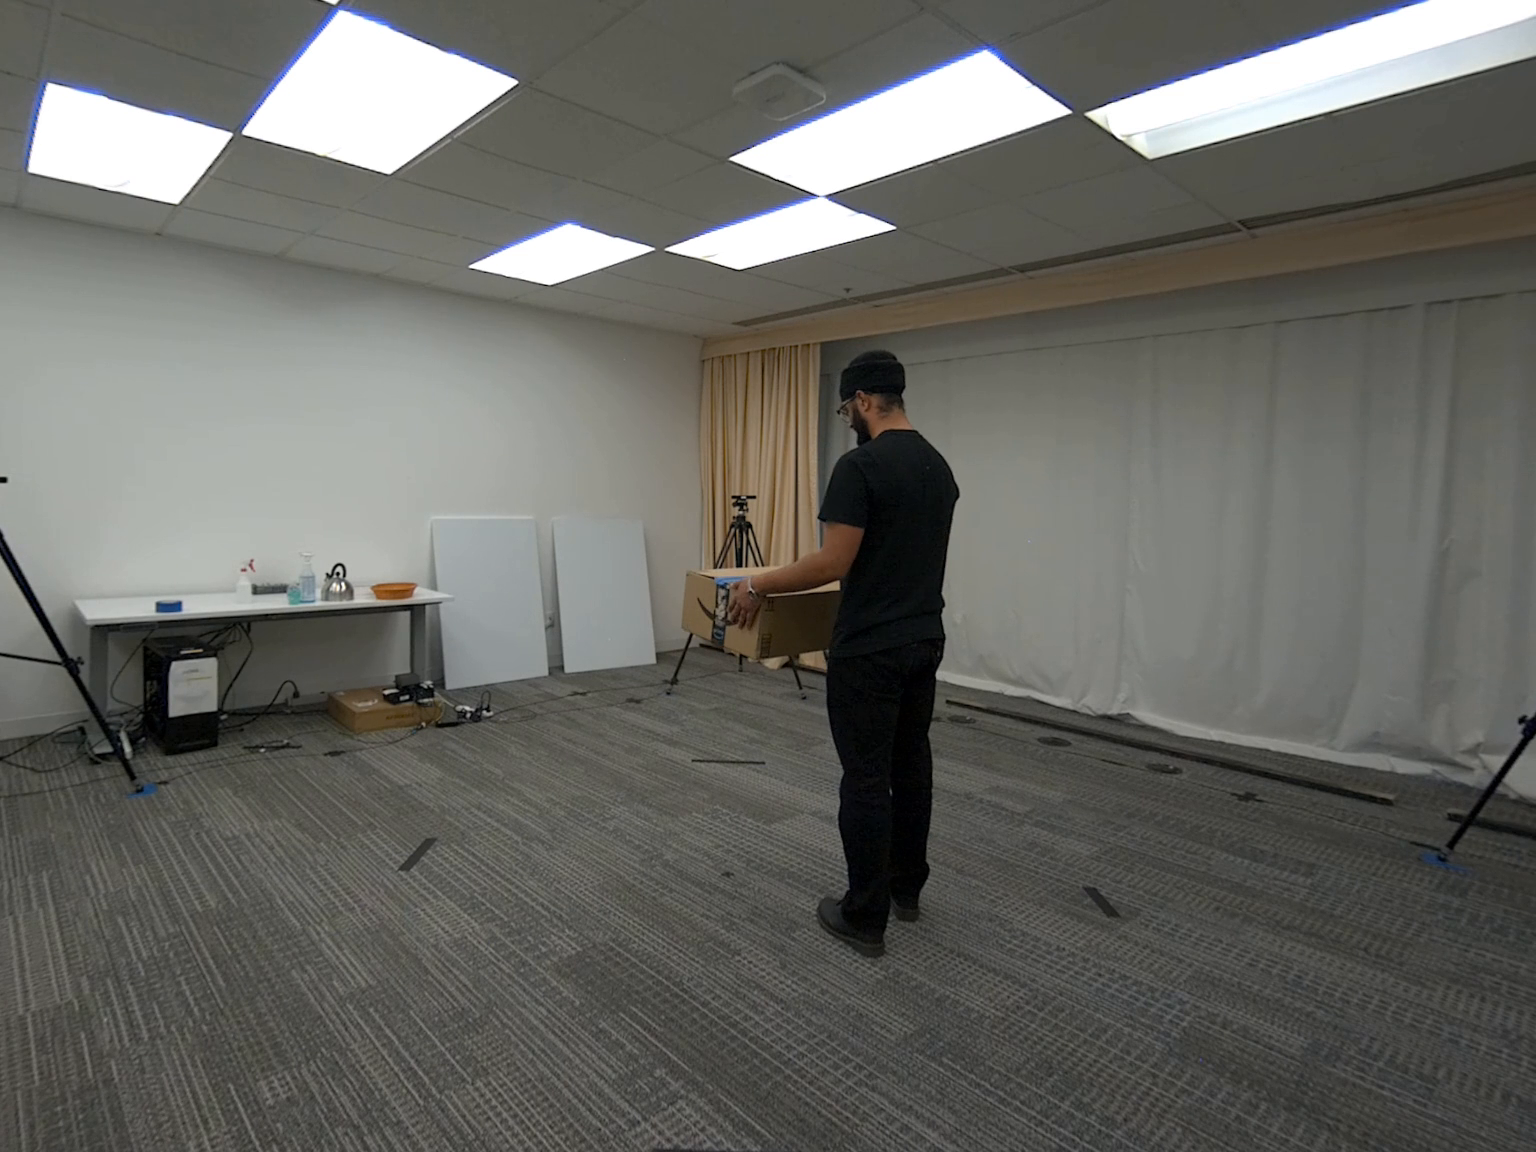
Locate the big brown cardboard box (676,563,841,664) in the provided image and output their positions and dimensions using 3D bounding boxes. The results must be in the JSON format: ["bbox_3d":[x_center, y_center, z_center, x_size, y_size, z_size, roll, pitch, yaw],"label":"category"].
[{"bbox_3d":[0.044,0.112,3.015,0.575,0.232,0.430,-2,12,-42],"label":"big brown cardboard box"}]
